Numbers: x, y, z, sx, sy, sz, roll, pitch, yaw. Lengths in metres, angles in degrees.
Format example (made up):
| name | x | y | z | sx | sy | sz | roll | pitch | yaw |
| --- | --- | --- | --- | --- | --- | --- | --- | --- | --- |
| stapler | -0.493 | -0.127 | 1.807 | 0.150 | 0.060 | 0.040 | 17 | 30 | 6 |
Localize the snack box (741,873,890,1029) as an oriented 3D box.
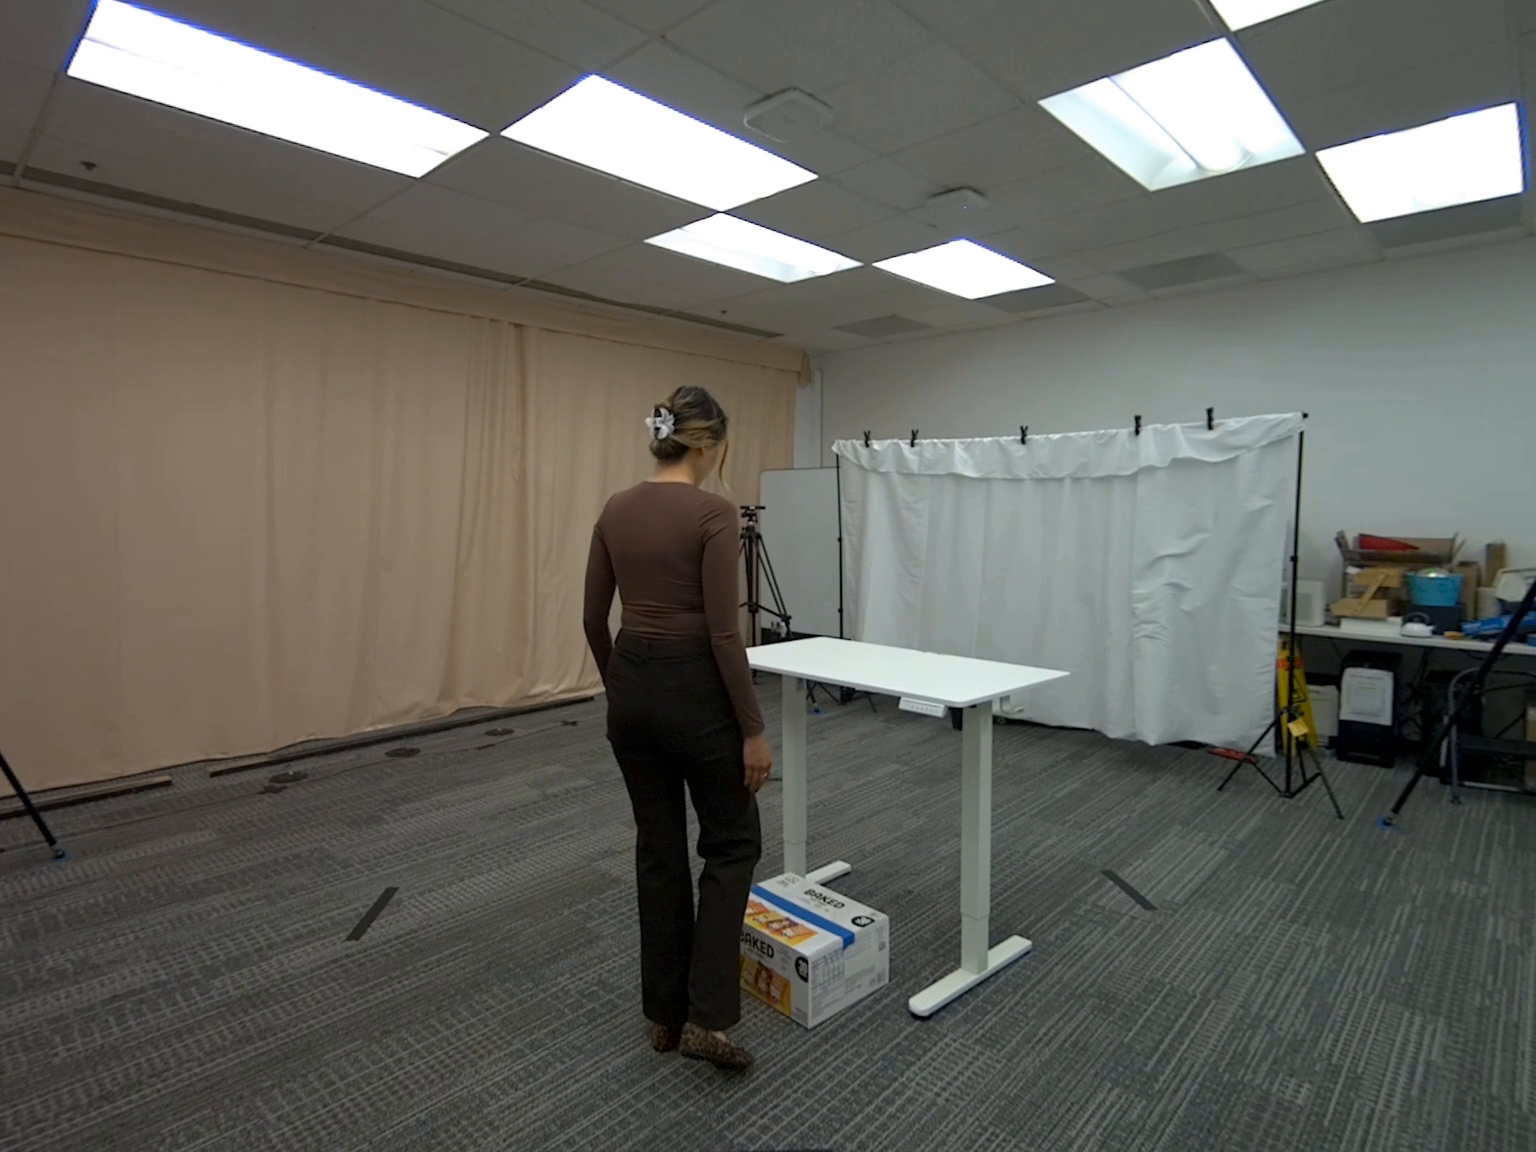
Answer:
| name | x | y | z | sx | sy | sz | roll | pitch | yaw |
| --- | --- | --- | --- | --- | --- | --- | --- | --- | --- |
| snack box | 0.094 | 1.086 | 2.480 | 0.330 | 0.205 | 0.419 | -4 | 6 | -42 |
